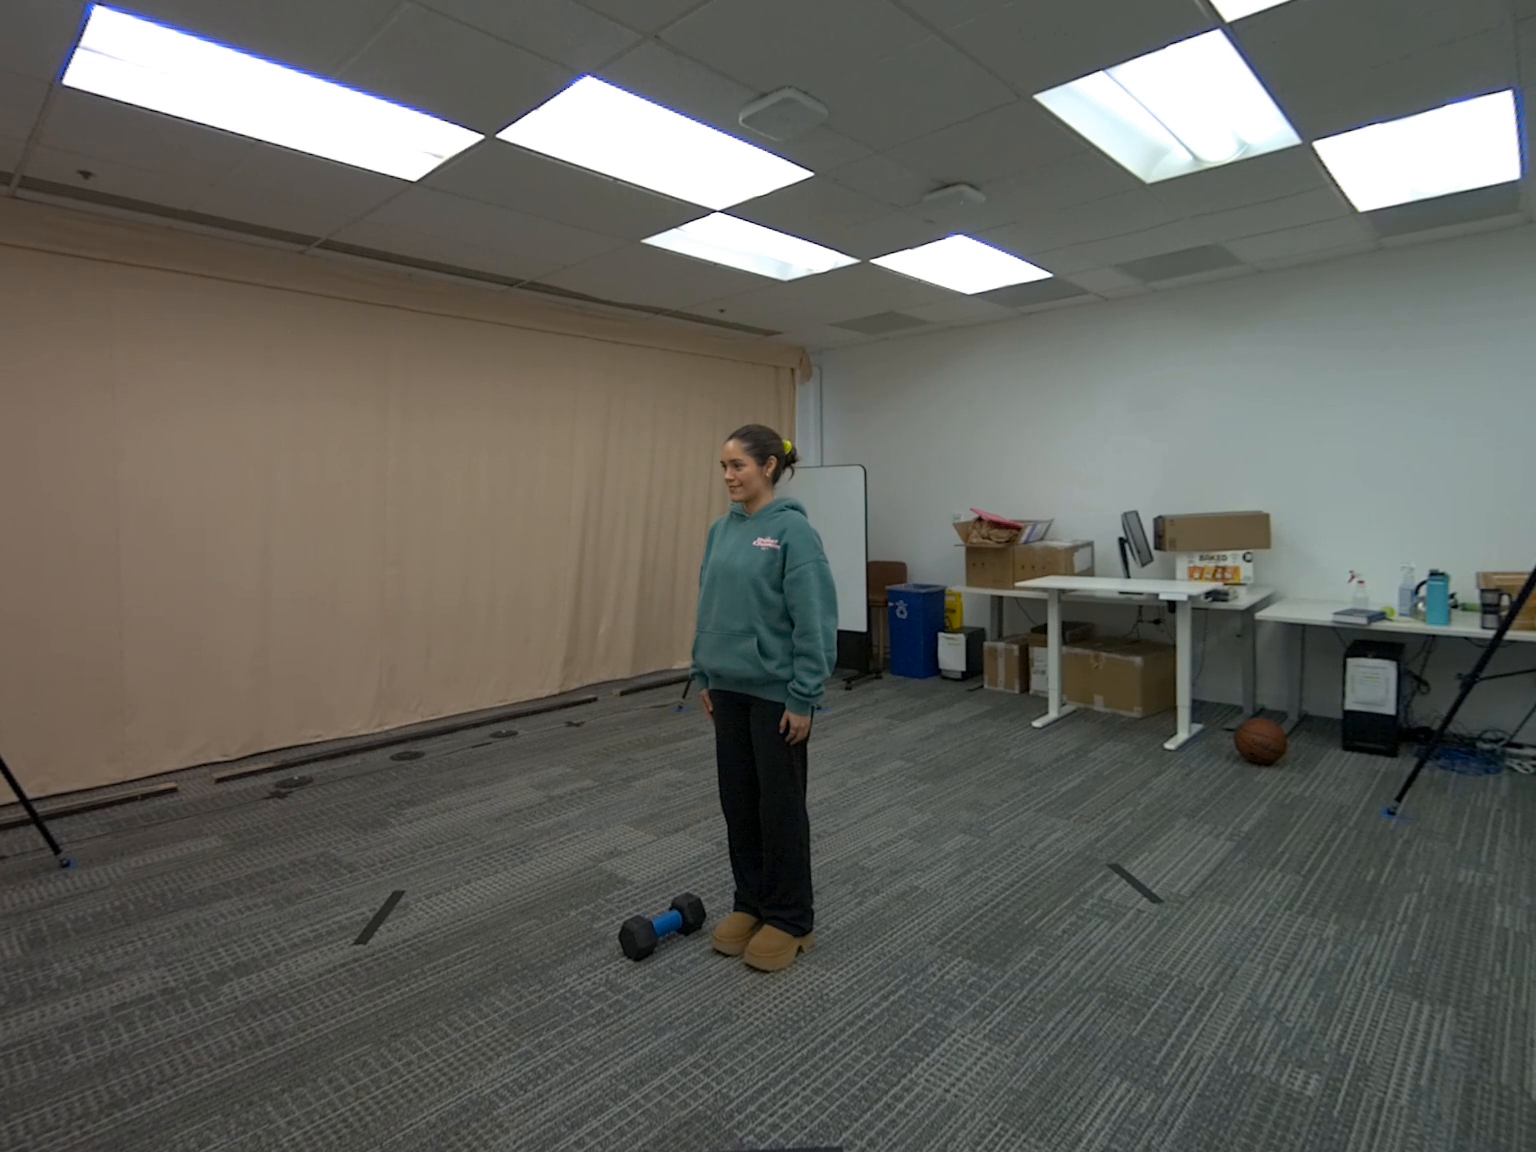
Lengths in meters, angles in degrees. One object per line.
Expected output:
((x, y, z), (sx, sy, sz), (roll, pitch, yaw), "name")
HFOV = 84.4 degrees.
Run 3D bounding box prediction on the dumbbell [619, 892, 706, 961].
((-0.334, 1.122, 2.694), (0.285, 0.125, 0.110), (-6, -26, -46), "dumbbell")
